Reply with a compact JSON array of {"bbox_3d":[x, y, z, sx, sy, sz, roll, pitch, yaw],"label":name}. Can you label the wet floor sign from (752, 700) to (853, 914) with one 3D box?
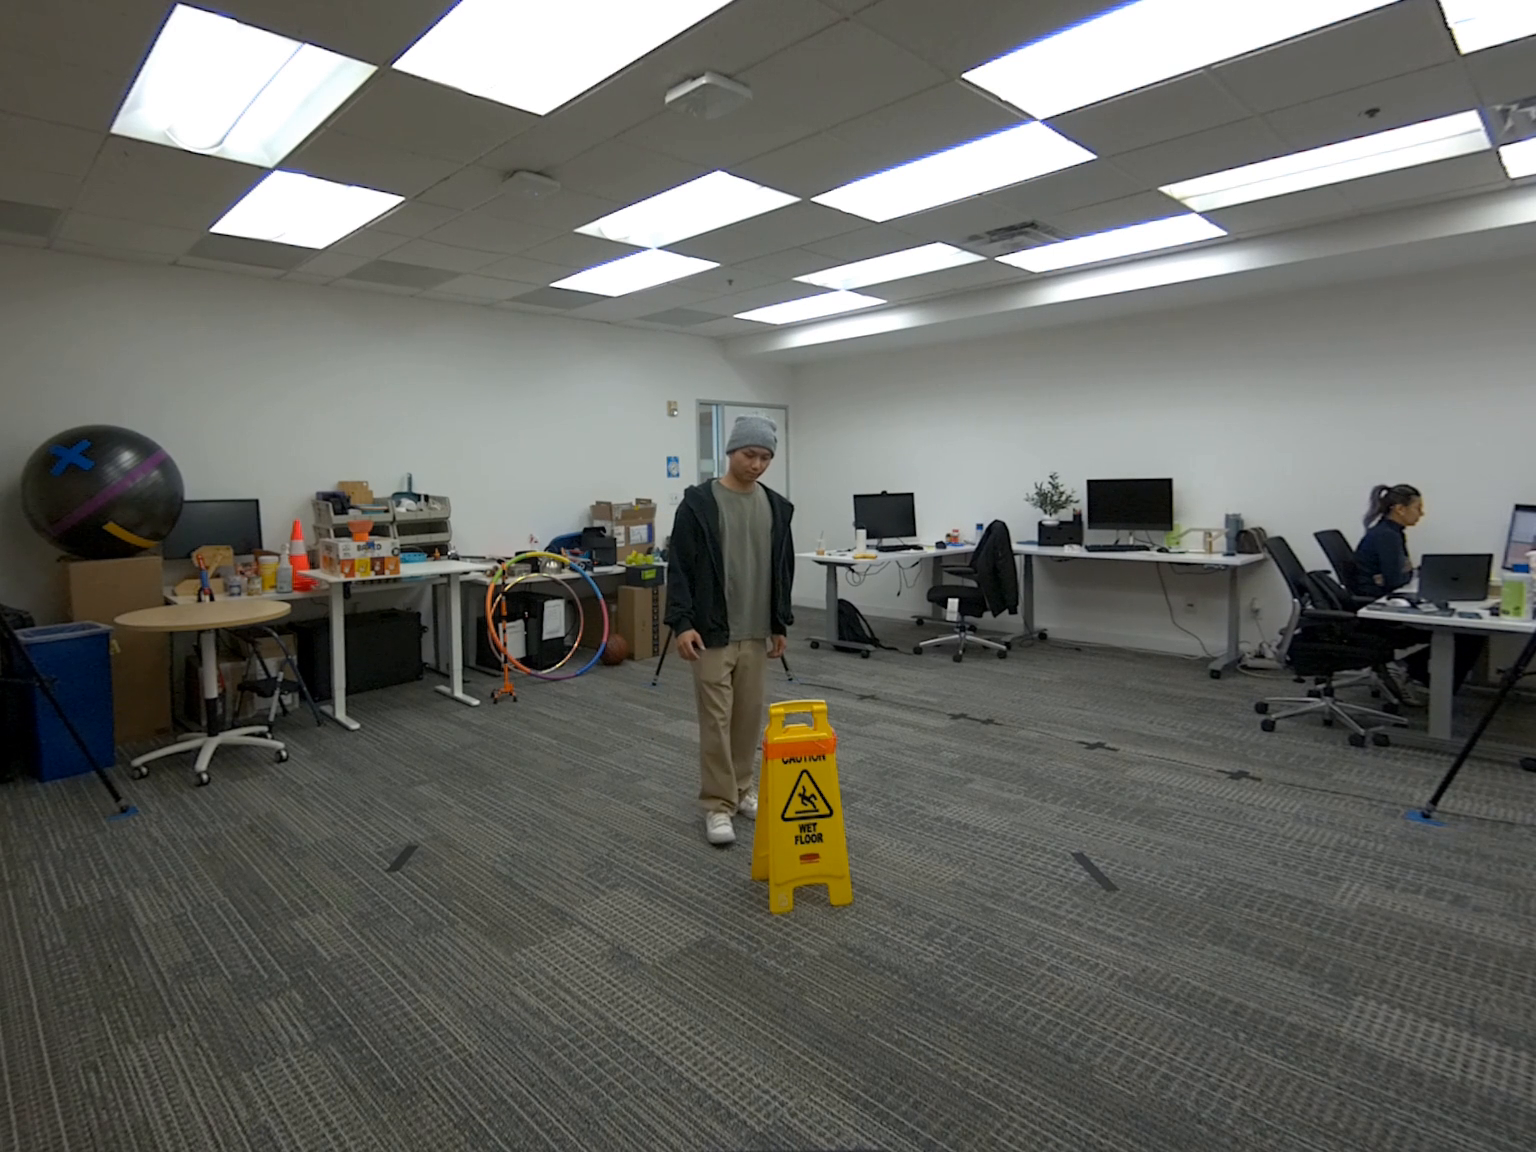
[{"bbox_3d":[0.109,0.739,2.868,0.279,0.643,0.294,-3,5,-13],"label":"wet floor sign"}]
